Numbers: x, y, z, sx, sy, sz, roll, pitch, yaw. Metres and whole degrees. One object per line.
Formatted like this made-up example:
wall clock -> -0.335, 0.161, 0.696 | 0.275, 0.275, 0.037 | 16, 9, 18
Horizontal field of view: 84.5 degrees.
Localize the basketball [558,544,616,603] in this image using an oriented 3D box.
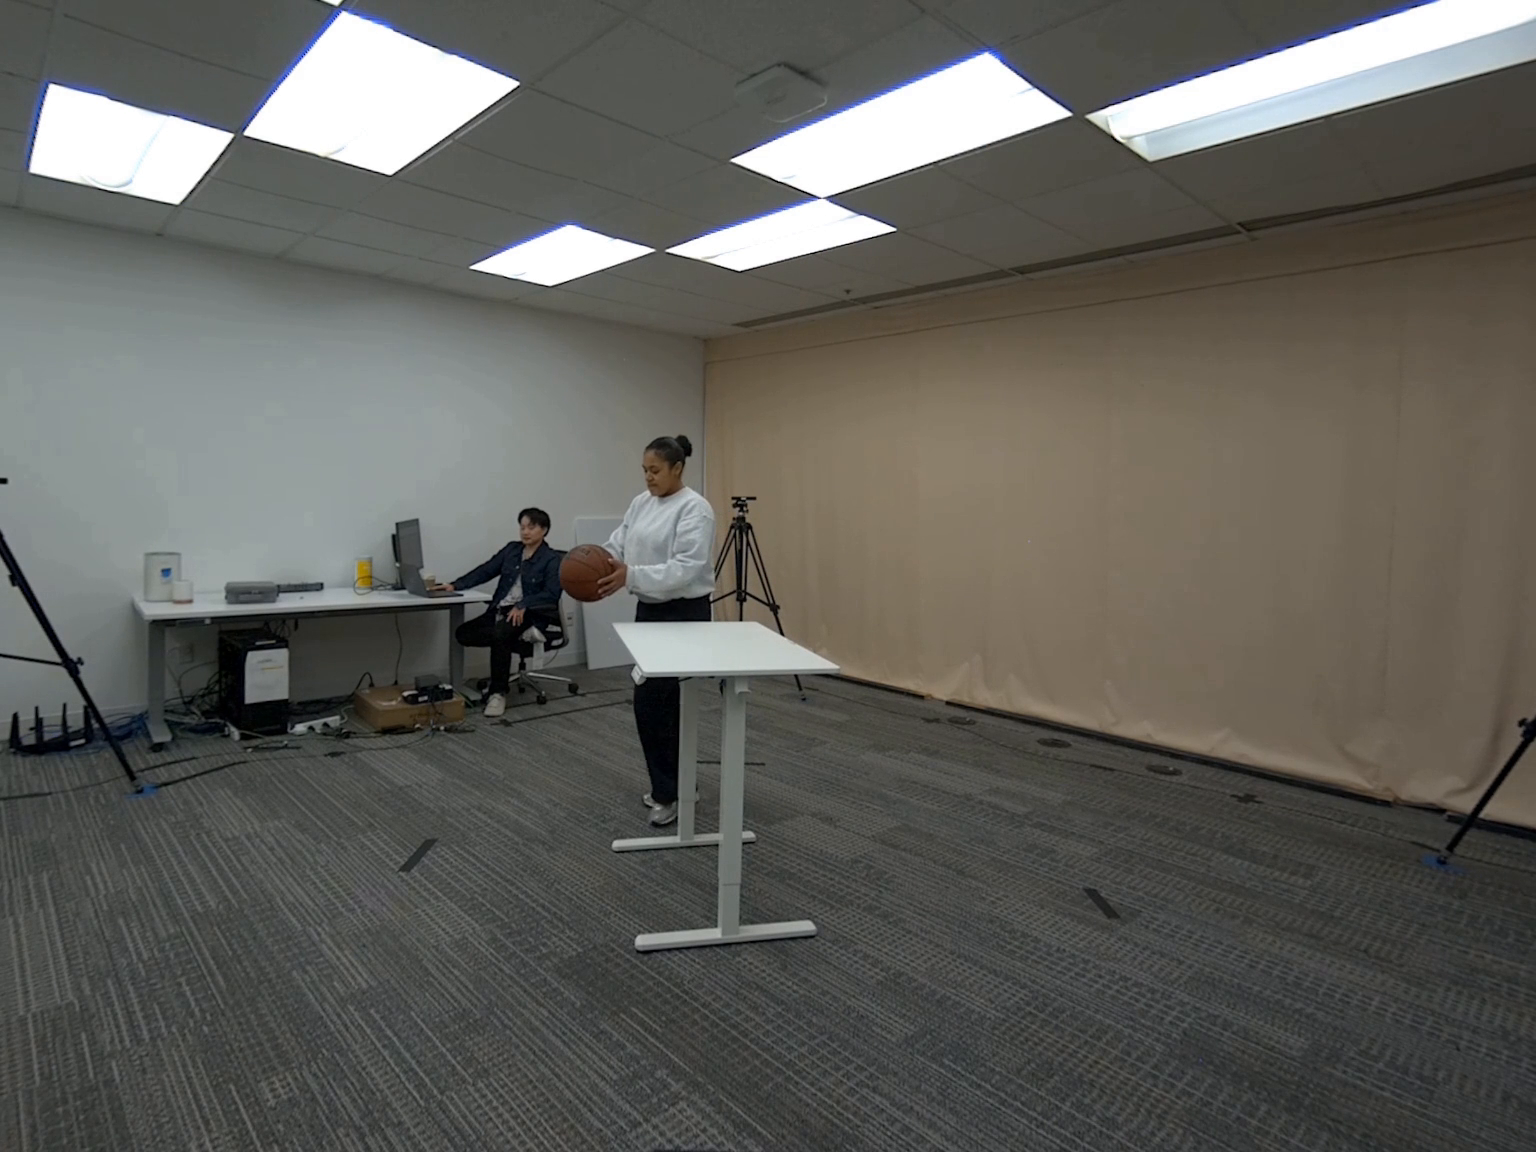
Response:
basketball -> -0.757, -0.008, 3.440 | 0.236, 0.235, 0.237 | 1, 4, -1
